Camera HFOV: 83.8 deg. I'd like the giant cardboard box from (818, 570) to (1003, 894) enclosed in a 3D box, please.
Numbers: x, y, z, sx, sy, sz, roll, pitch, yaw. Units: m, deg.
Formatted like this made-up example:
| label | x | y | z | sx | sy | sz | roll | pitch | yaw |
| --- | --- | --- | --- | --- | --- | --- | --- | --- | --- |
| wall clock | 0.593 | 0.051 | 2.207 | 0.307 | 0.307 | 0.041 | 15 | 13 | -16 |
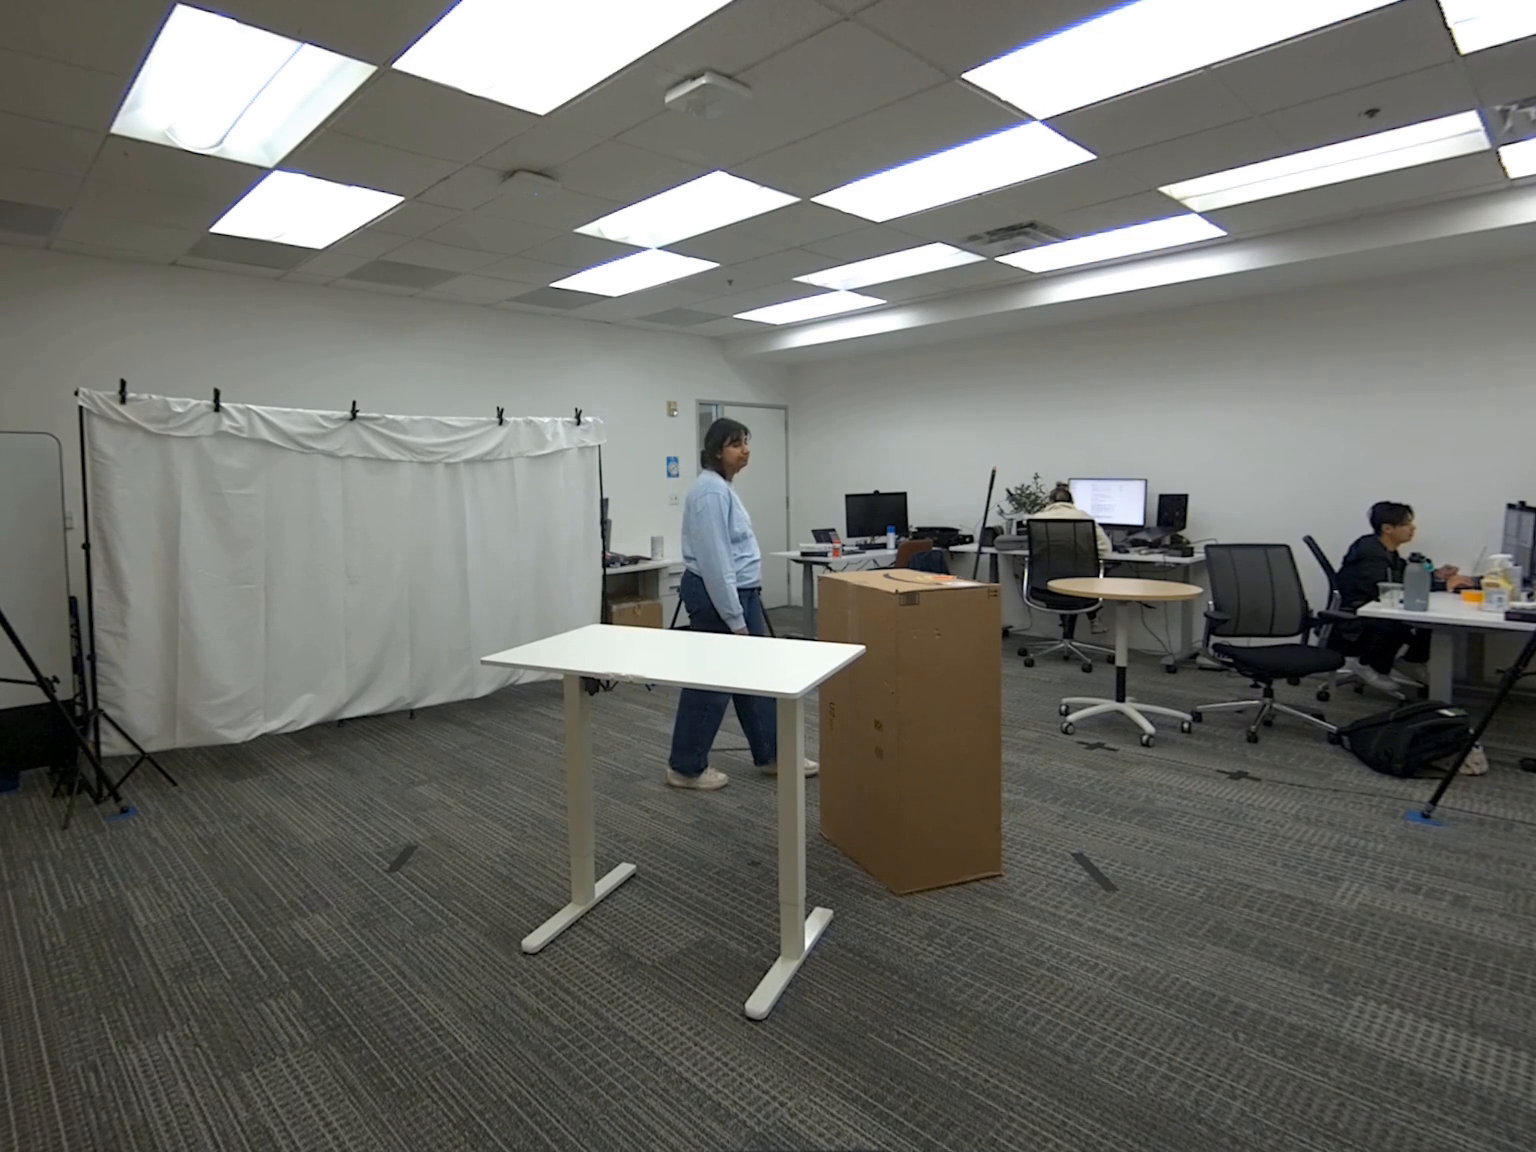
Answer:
| label | x | y | z | sx | sy | sz | roll | pitch | yaw |
| --- | --- | --- | --- | --- | --- | --- | --- | --- | --- |
| giant cardboard box | 0.508 | 0.521 | 3.151 | 0.418 | 1.023 | 0.591 | -2 | 4 | -23 |
